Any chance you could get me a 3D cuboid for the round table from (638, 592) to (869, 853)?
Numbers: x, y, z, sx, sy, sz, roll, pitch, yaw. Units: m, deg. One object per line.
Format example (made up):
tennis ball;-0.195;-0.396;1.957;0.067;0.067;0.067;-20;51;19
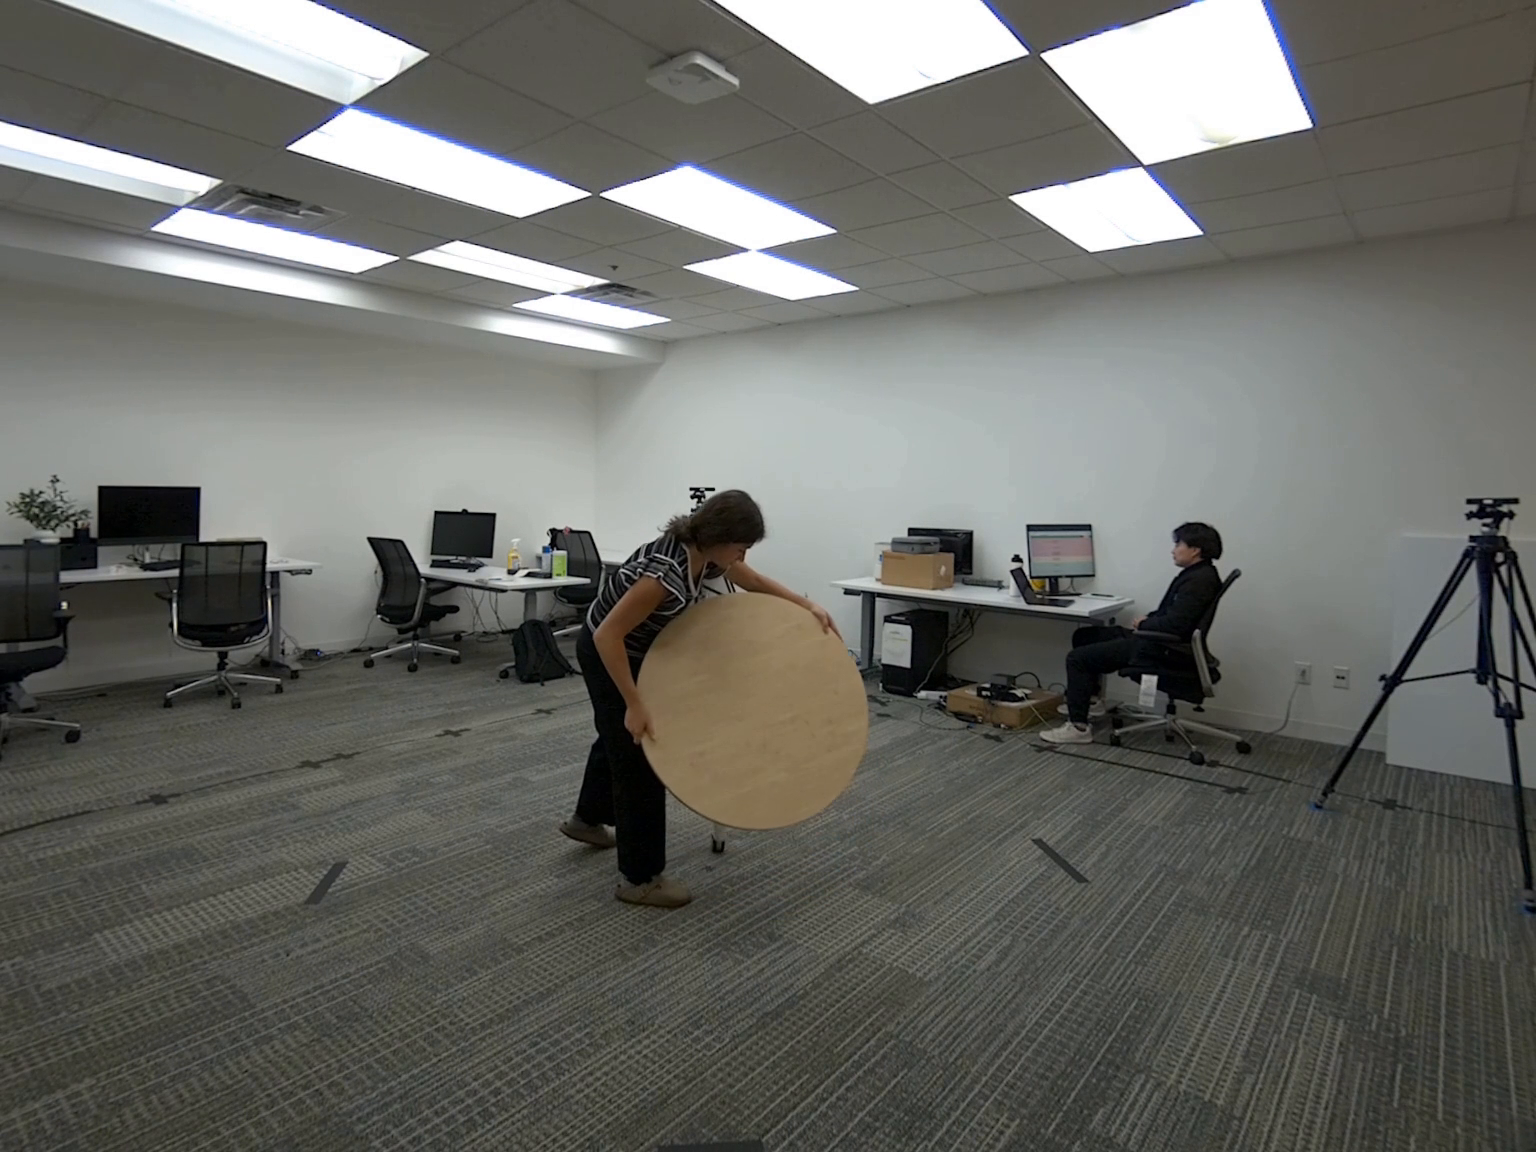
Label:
round table;-0.132;0.568;3.083;0.754;0.782;0.786;0;-24;-13
